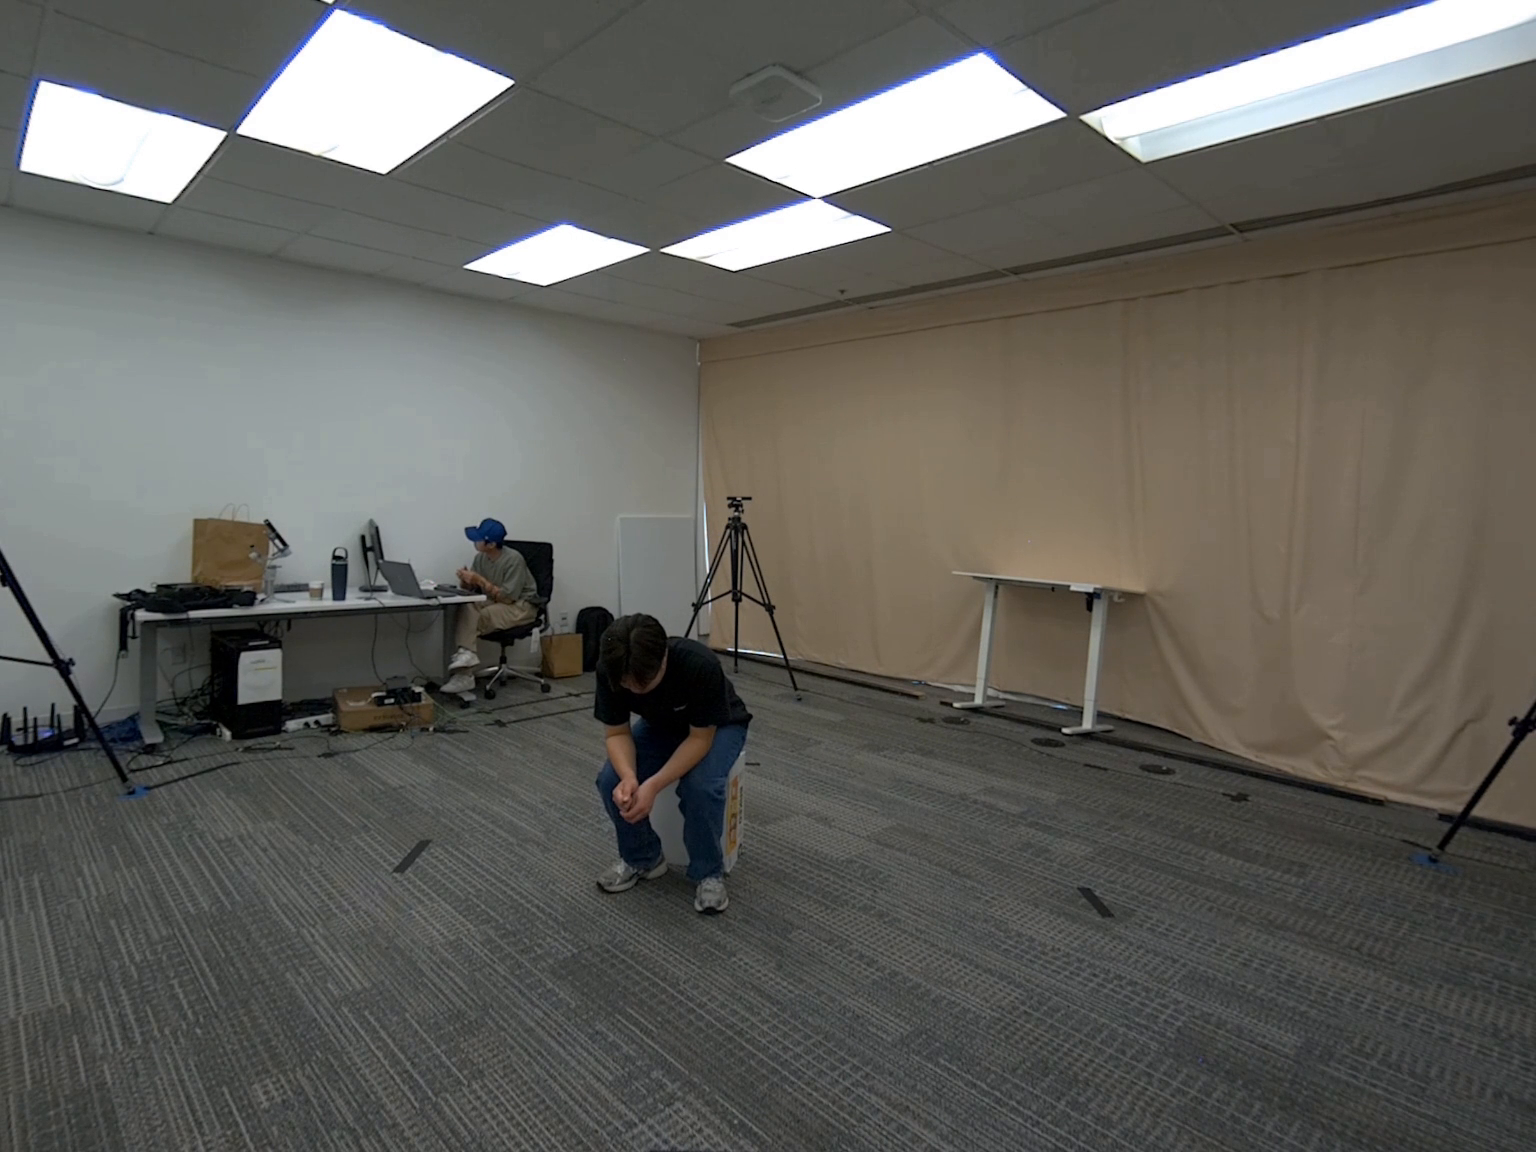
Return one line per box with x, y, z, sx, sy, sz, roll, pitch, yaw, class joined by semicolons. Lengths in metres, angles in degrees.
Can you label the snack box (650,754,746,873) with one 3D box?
-0.281;0.891;3.253;0.345;0.404;0.203;3;4;16;snack box
